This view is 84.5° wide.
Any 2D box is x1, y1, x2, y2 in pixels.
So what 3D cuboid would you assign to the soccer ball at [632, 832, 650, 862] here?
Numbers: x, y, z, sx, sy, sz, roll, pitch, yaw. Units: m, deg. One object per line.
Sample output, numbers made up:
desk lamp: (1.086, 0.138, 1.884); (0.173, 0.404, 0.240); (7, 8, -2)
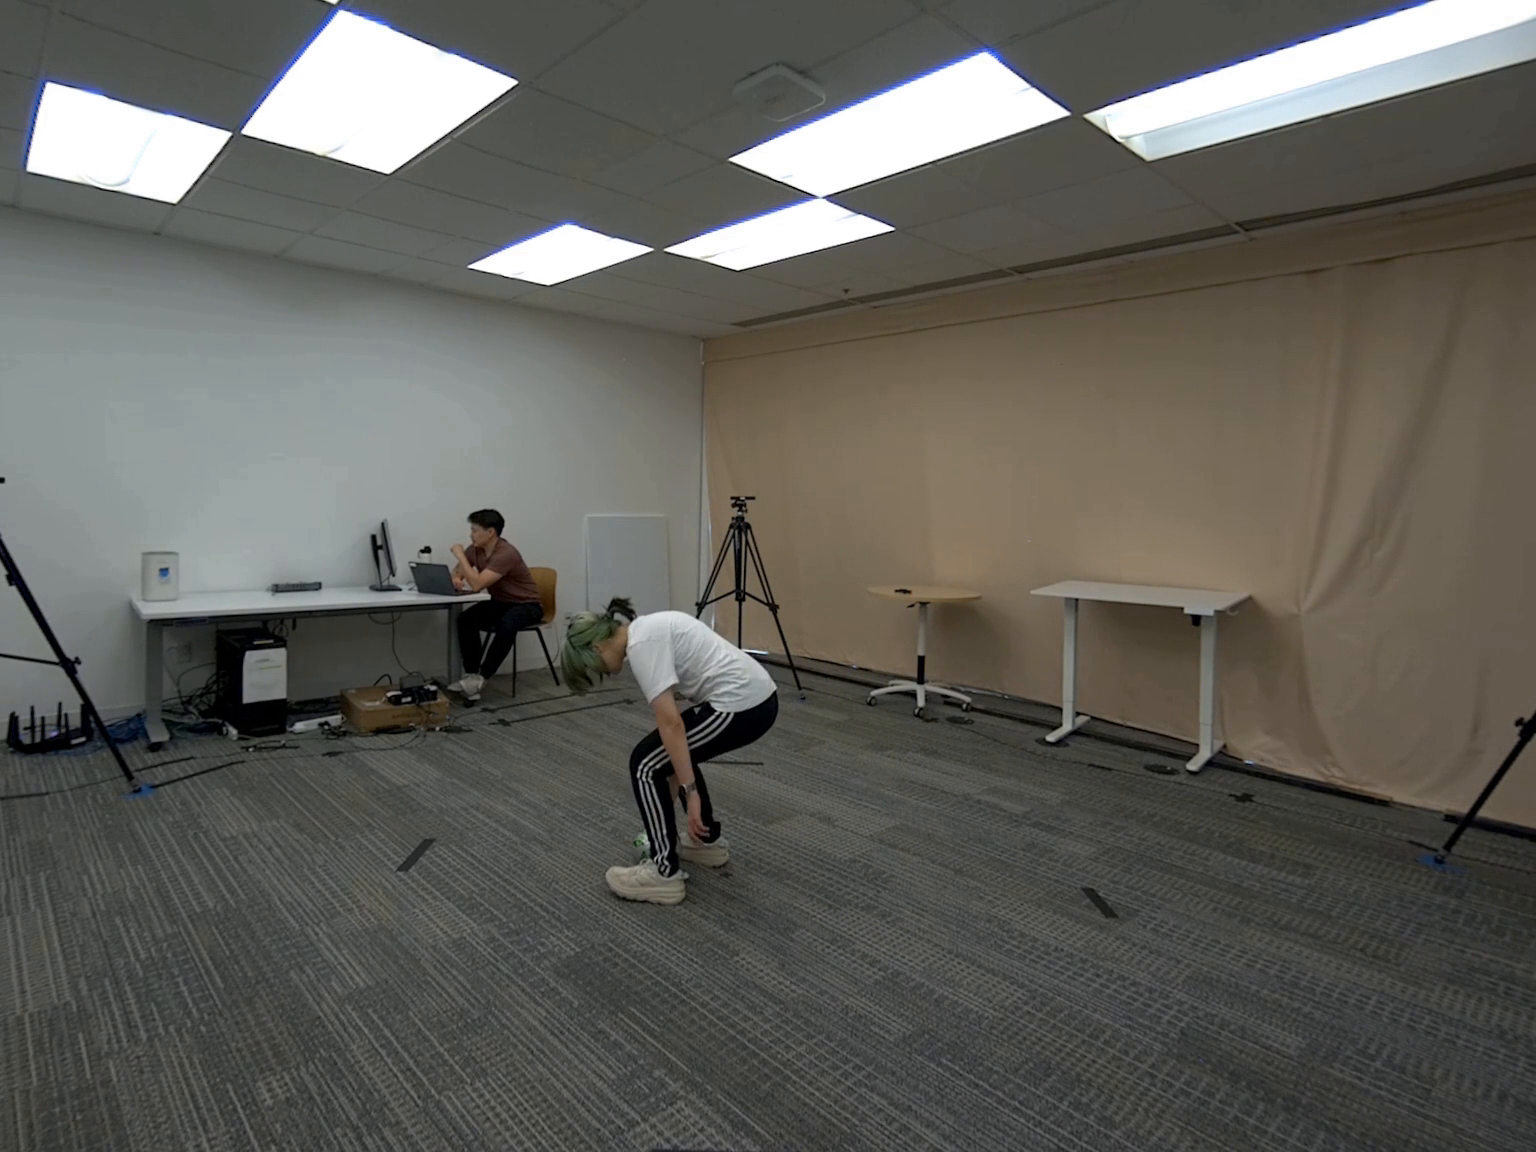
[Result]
soccer ball: (-0.421, 1.013, 3.108); (0.187, 0.187, 0.188); (1, 4, -1)
